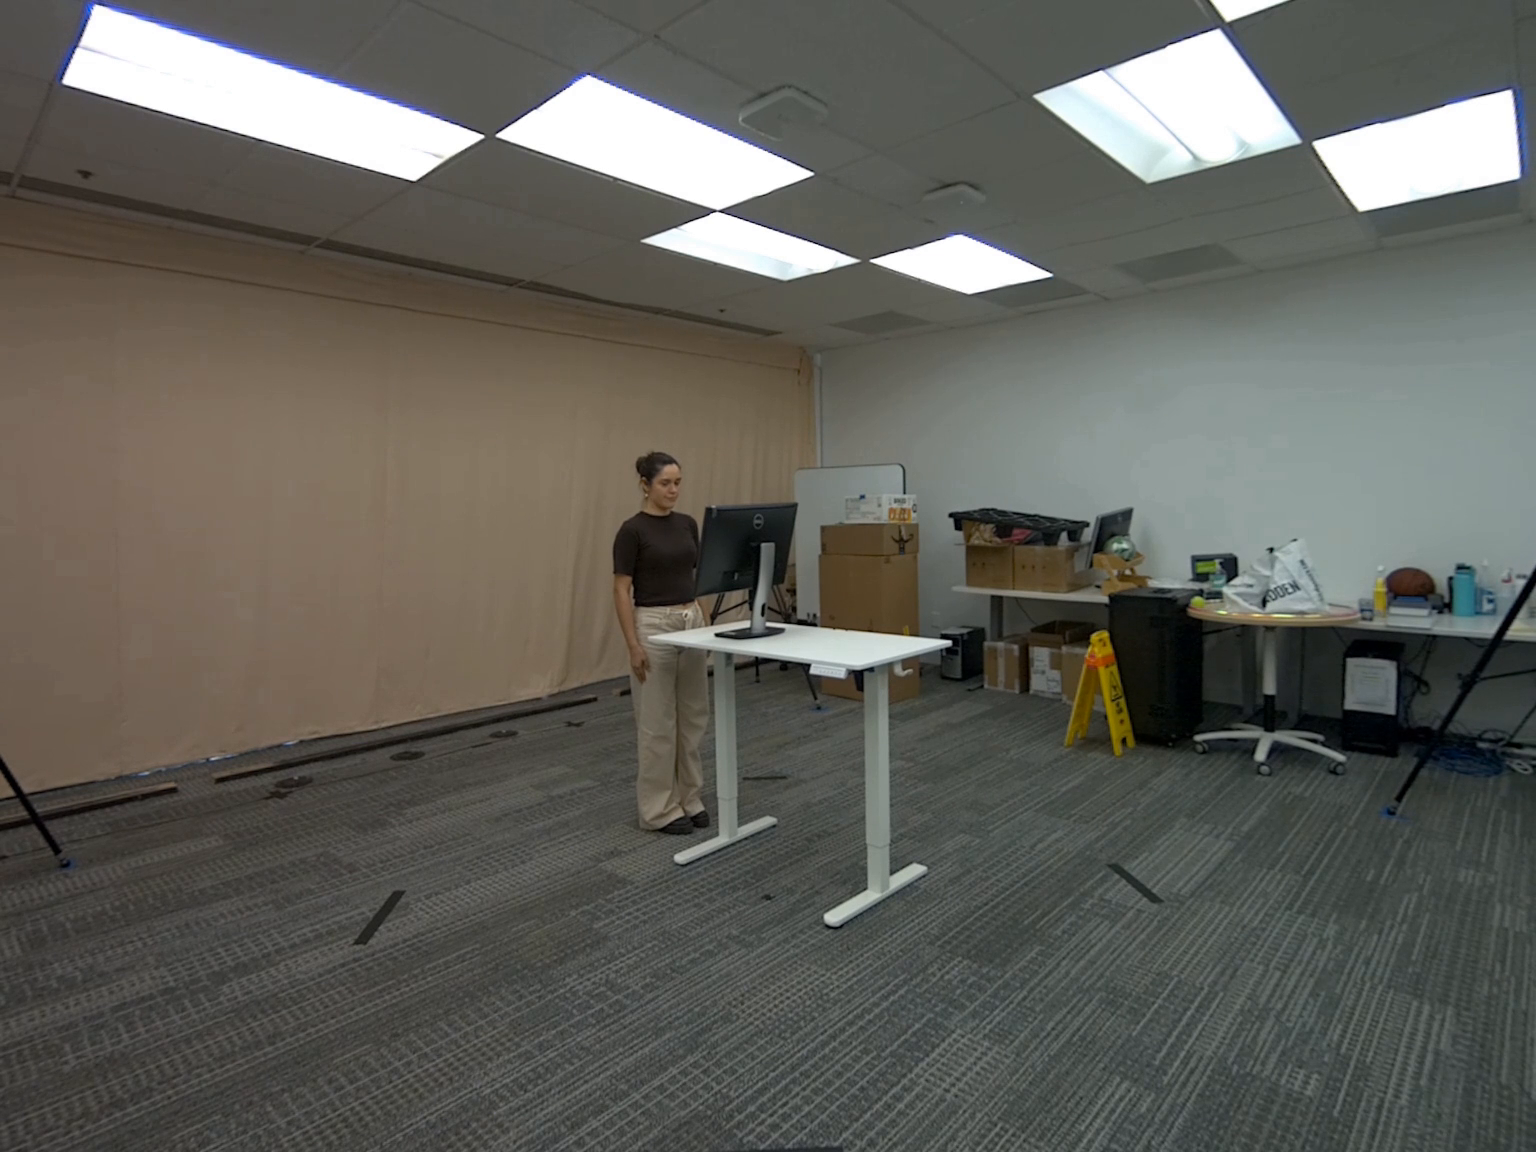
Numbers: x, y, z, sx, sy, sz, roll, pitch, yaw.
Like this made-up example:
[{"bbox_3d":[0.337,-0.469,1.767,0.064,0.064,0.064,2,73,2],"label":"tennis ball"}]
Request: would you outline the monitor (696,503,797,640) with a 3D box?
[{"bbox_3d":[-0.057,-0.020,3.307,0.193,0.521,0.523,5,7,40],"label":"monitor"}]
